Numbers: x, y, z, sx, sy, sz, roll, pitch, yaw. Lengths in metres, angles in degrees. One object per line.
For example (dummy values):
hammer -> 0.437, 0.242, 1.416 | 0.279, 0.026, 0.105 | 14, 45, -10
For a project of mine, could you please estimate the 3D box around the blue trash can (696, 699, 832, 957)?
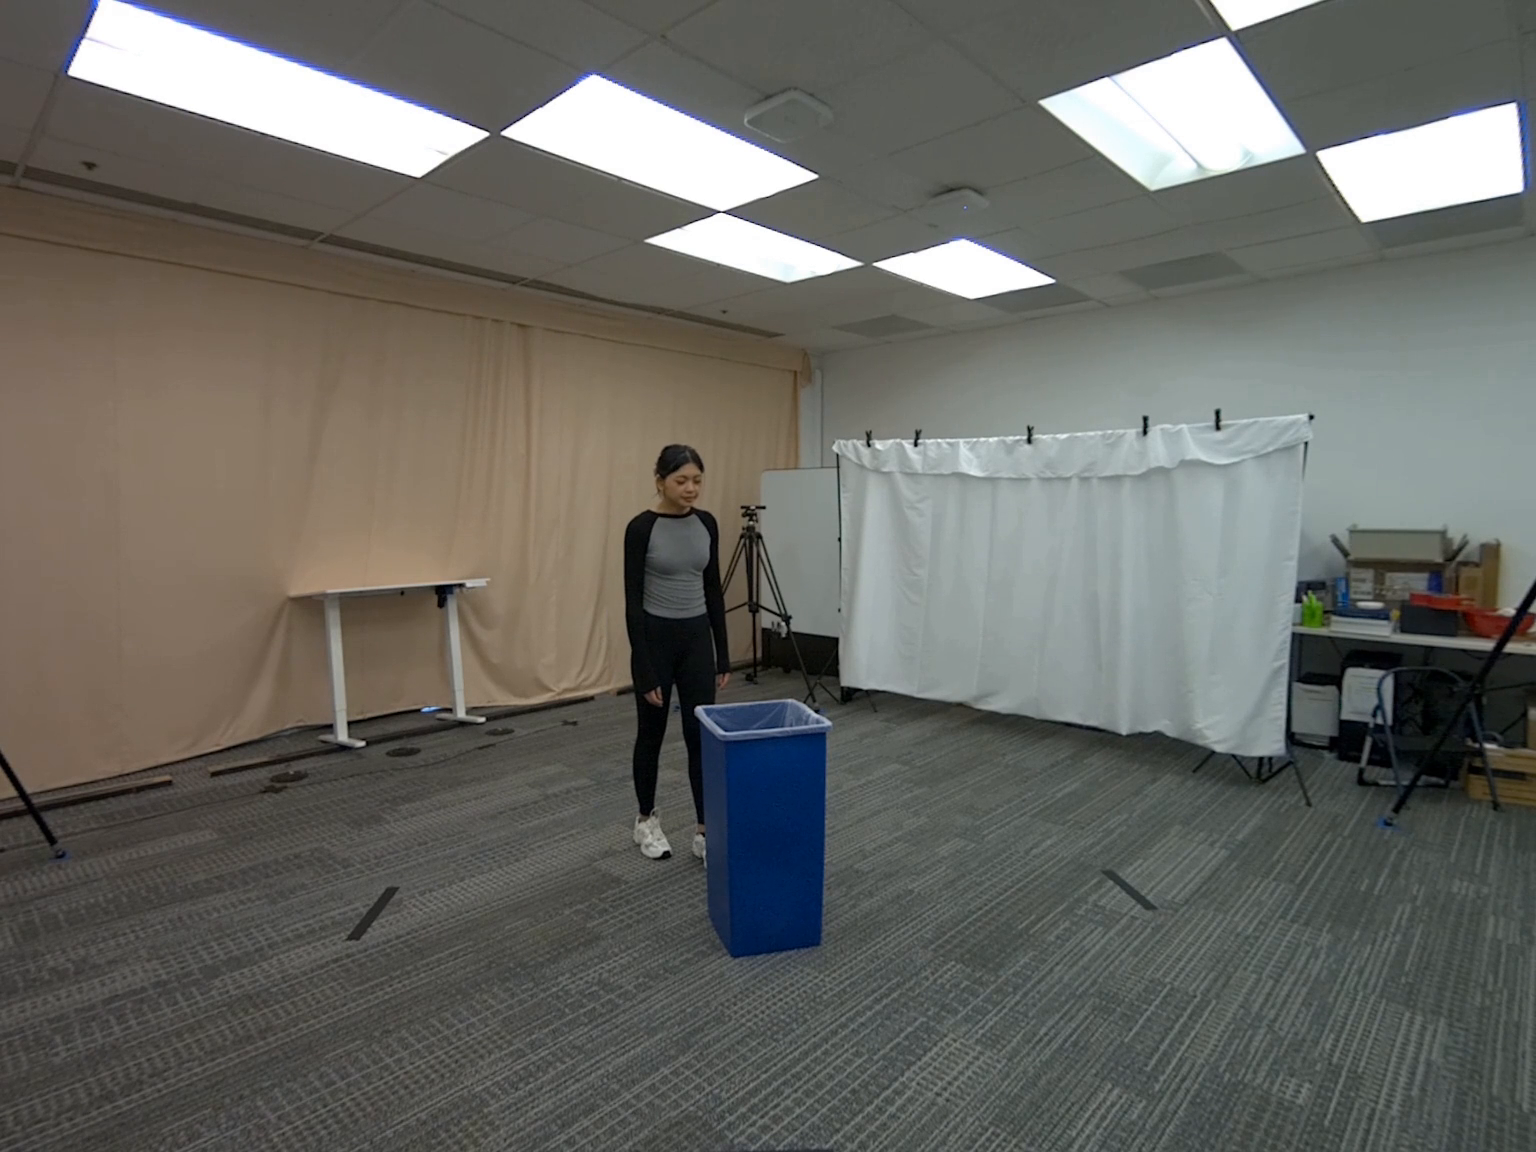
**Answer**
blue trash can -> -0.018, 0.806, 2.747 | 0.368, 0.712, 0.385 | -1, 3, -17
